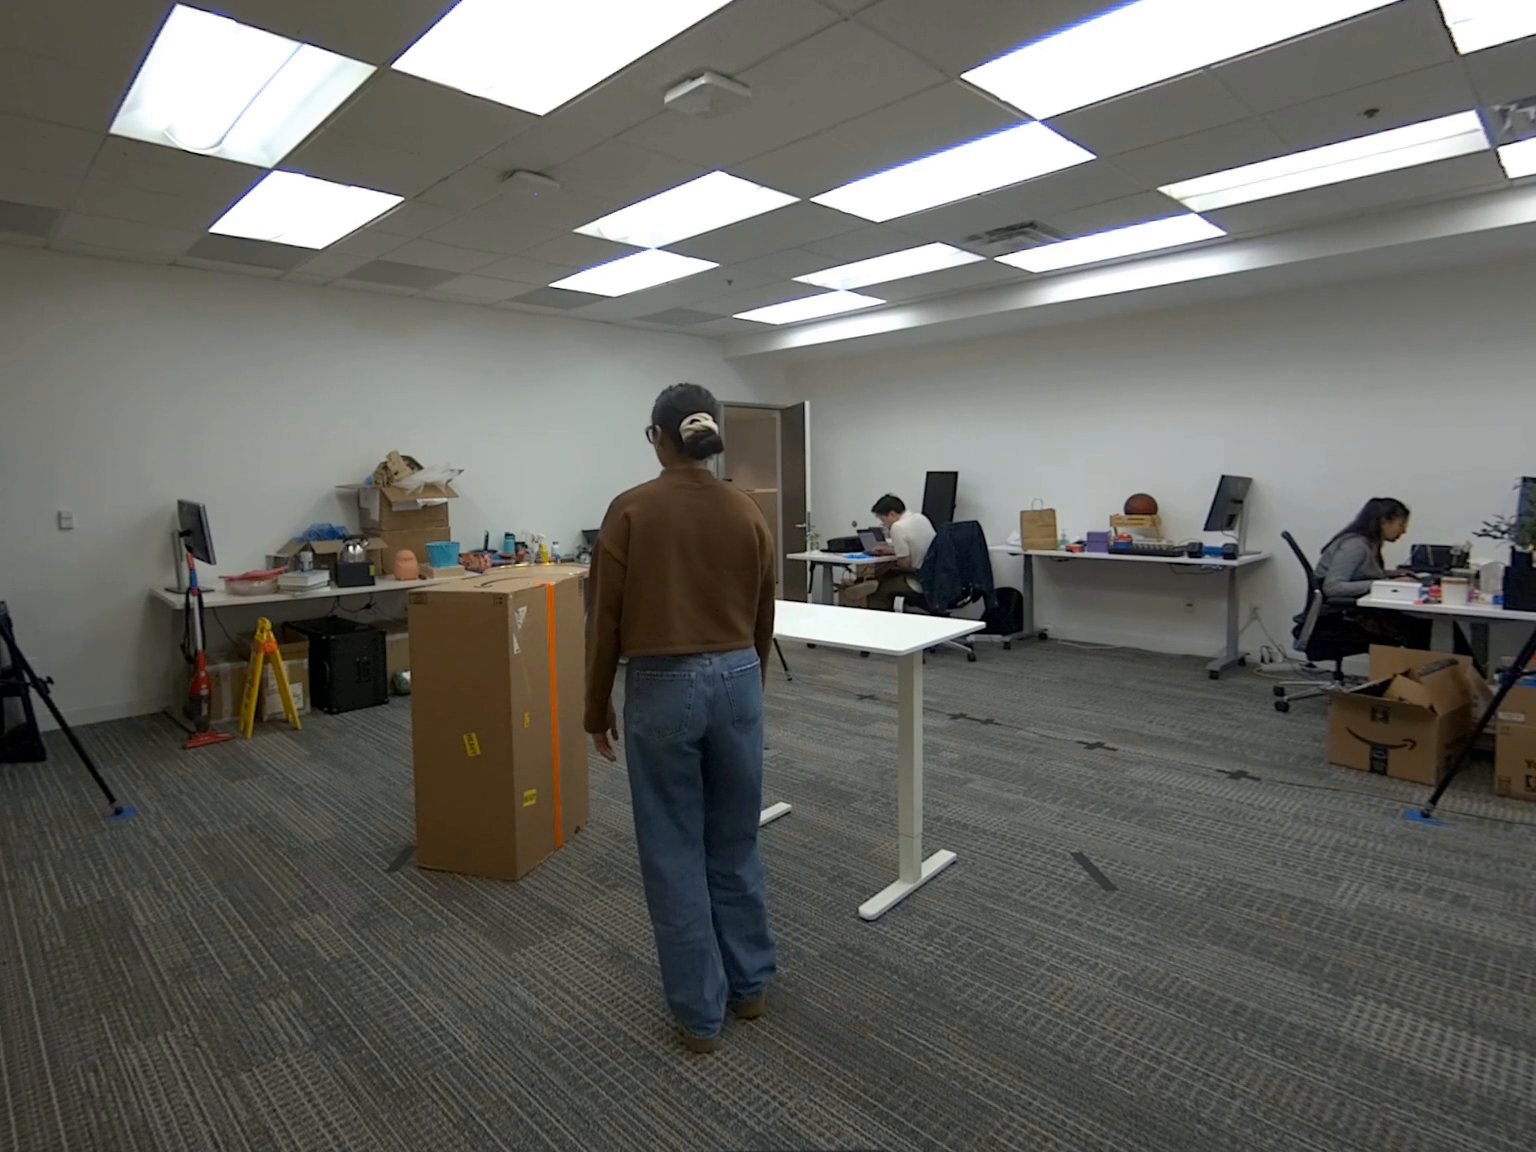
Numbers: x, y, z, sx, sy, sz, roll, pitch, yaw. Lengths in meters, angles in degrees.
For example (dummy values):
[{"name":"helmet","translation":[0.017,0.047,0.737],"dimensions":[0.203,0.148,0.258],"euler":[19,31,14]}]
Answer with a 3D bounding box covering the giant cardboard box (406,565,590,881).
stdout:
[{"name":"giant cardboard box","translation":[-1.018,0.532,3.305],"dimensions":[0.433,1.022,0.570],"euler":[0,4,16]}]
